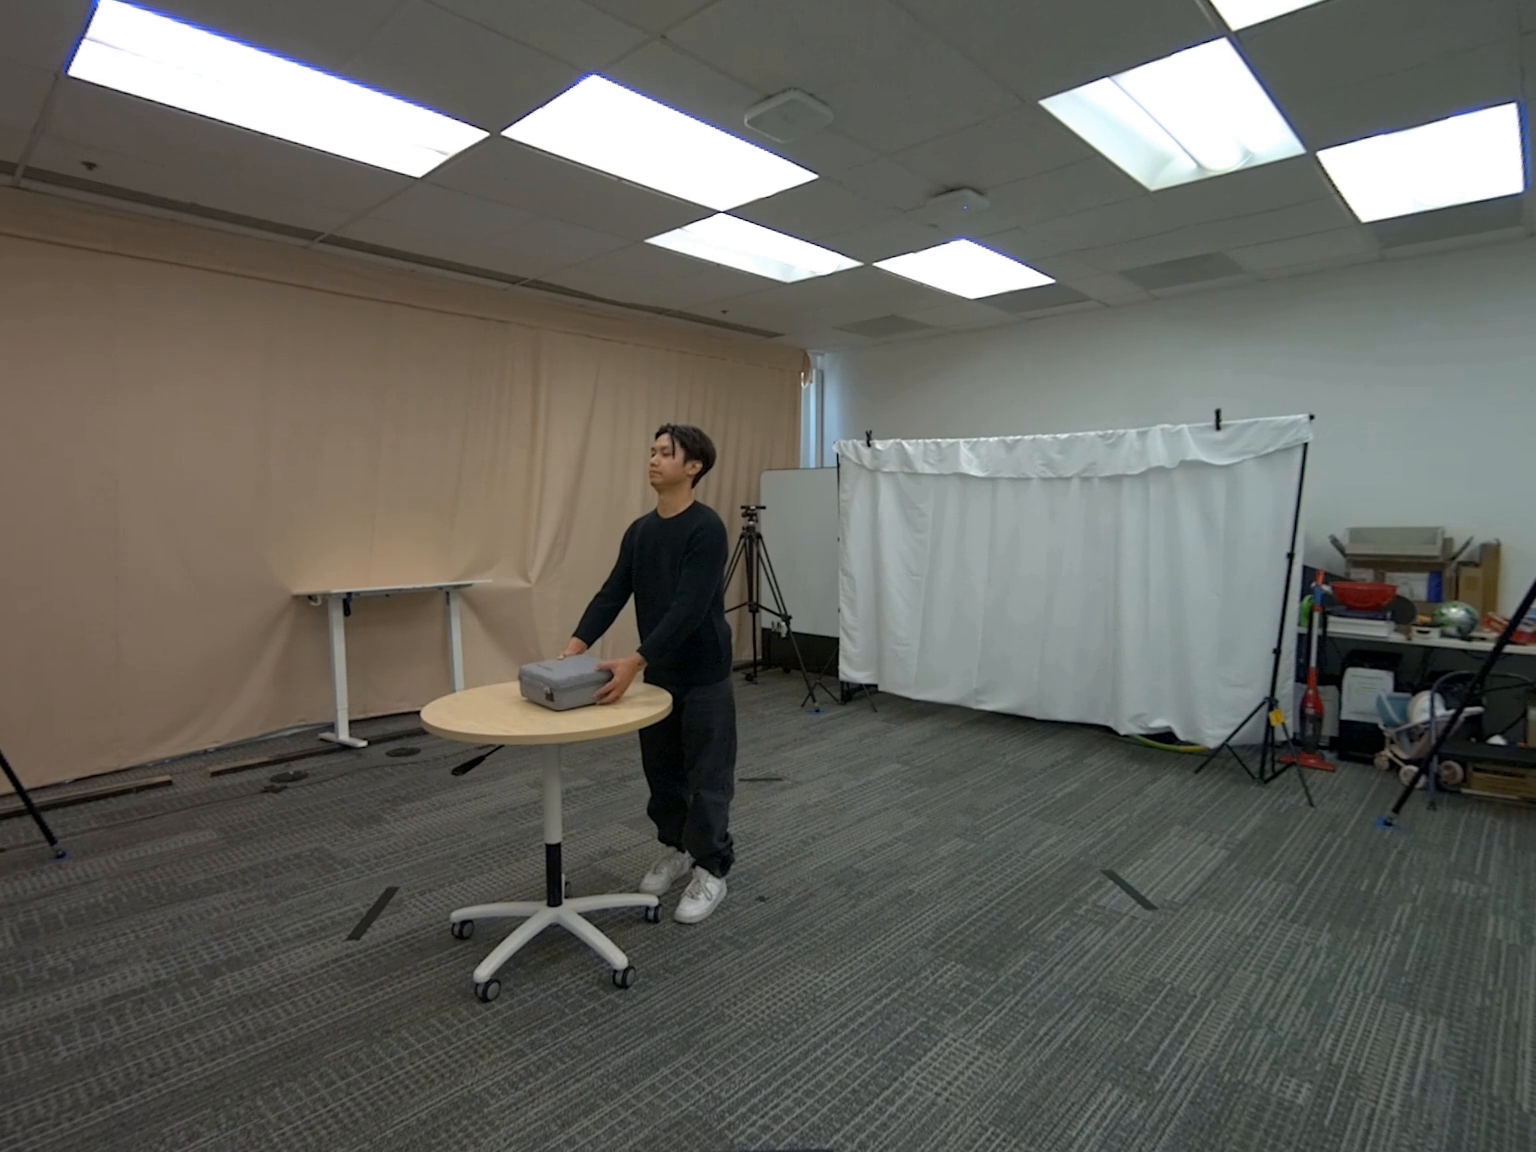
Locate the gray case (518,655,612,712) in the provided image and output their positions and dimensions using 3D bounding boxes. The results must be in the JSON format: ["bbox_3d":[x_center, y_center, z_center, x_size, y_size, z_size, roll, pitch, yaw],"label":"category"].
[{"bbox_3d":[-0.633,0.329,2.643,0.253,0.104,0.265,-9,9,-44],"label":"gray case"}]
